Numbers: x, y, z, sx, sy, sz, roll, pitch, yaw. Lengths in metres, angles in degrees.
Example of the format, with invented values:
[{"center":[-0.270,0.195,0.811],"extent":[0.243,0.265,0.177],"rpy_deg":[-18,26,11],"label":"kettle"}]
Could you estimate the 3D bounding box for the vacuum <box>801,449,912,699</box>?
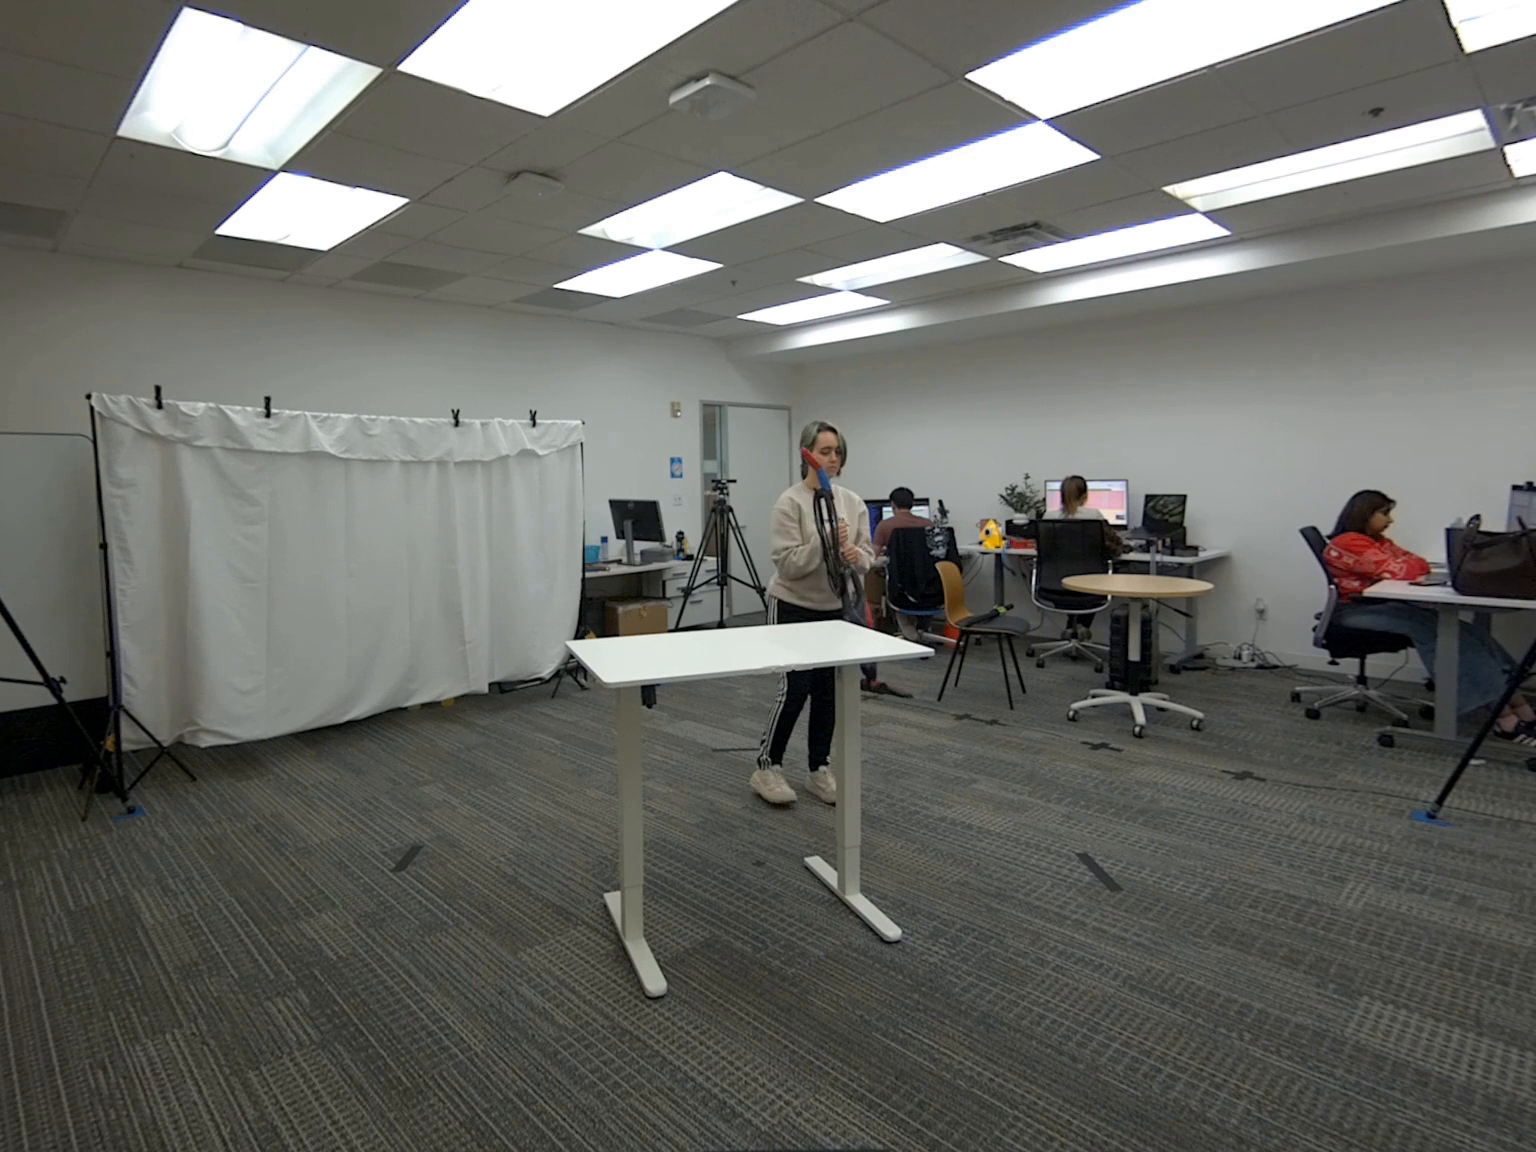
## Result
[{"center":[0.307,-0.013,3.476],"extent":[0.142,1.039,0.259],"rpy_deg":[-24,11,-42],"label":"vacuum"}]
